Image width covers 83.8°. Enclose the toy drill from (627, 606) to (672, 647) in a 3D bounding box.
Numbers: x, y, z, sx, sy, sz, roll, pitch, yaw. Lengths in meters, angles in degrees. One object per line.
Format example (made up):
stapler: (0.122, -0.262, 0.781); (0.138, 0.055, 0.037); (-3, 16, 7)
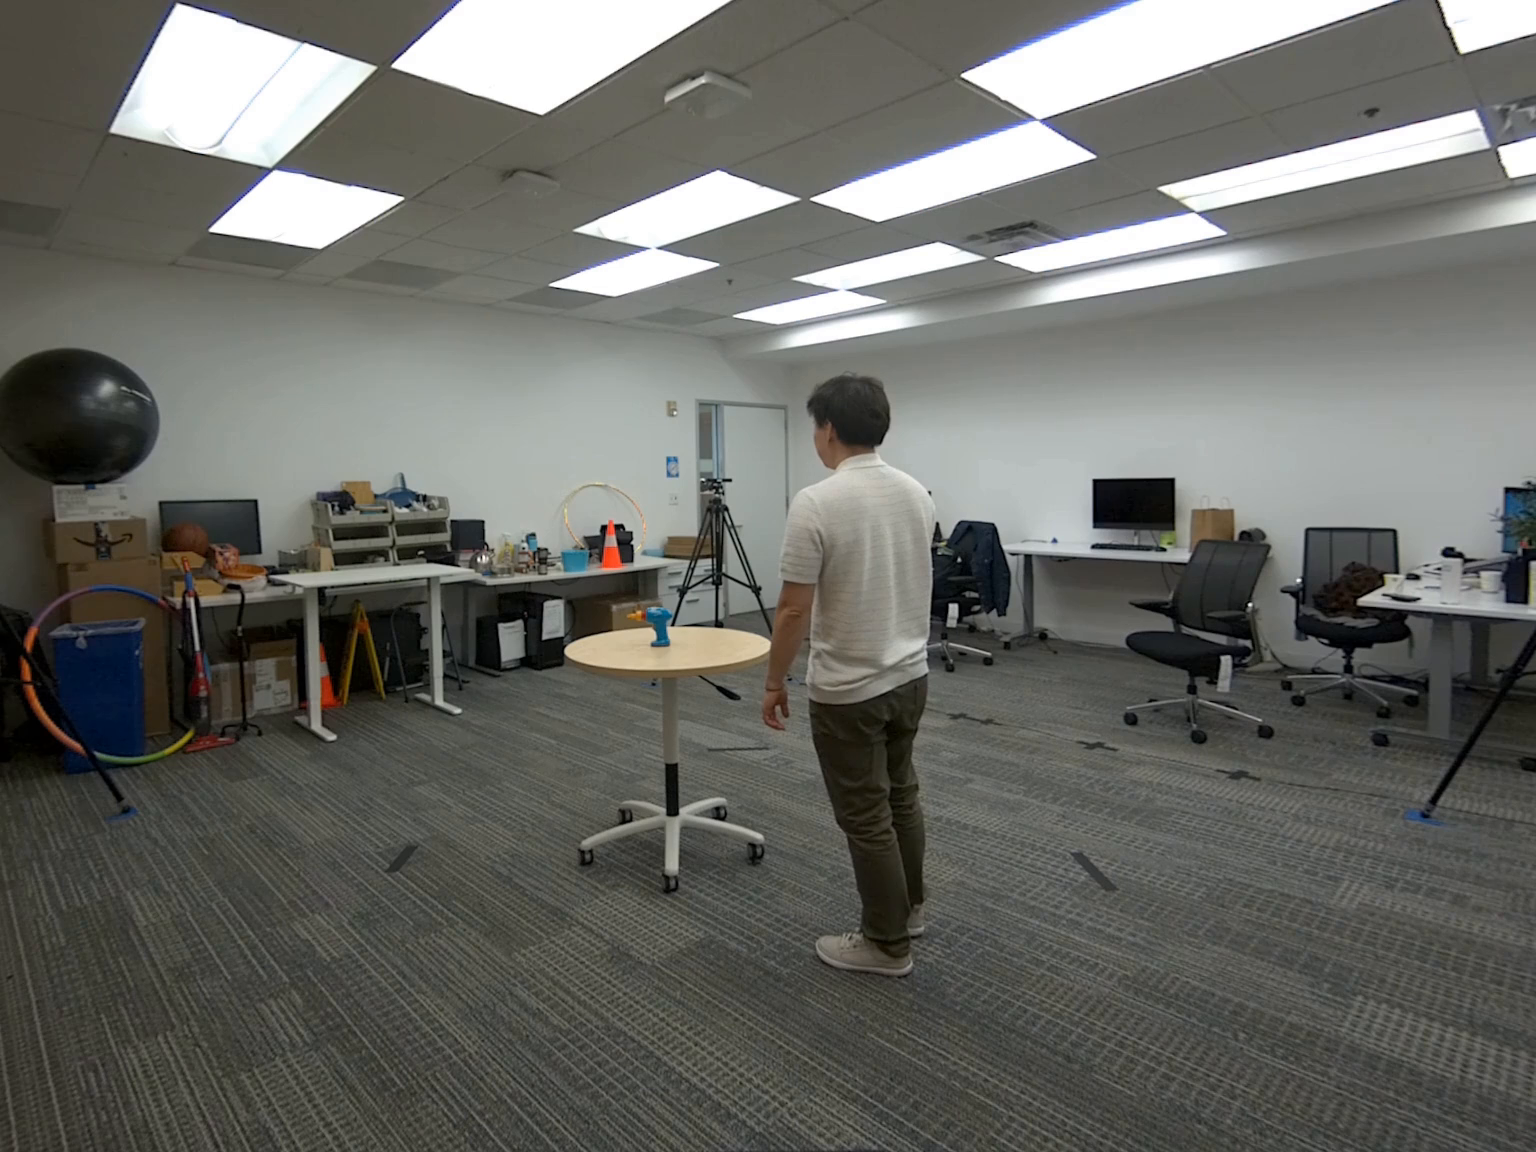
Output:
toy drill: (-0.435, 0.186, 3.167); (0.169, 0.145, 0.061); (0, 5, -1)
